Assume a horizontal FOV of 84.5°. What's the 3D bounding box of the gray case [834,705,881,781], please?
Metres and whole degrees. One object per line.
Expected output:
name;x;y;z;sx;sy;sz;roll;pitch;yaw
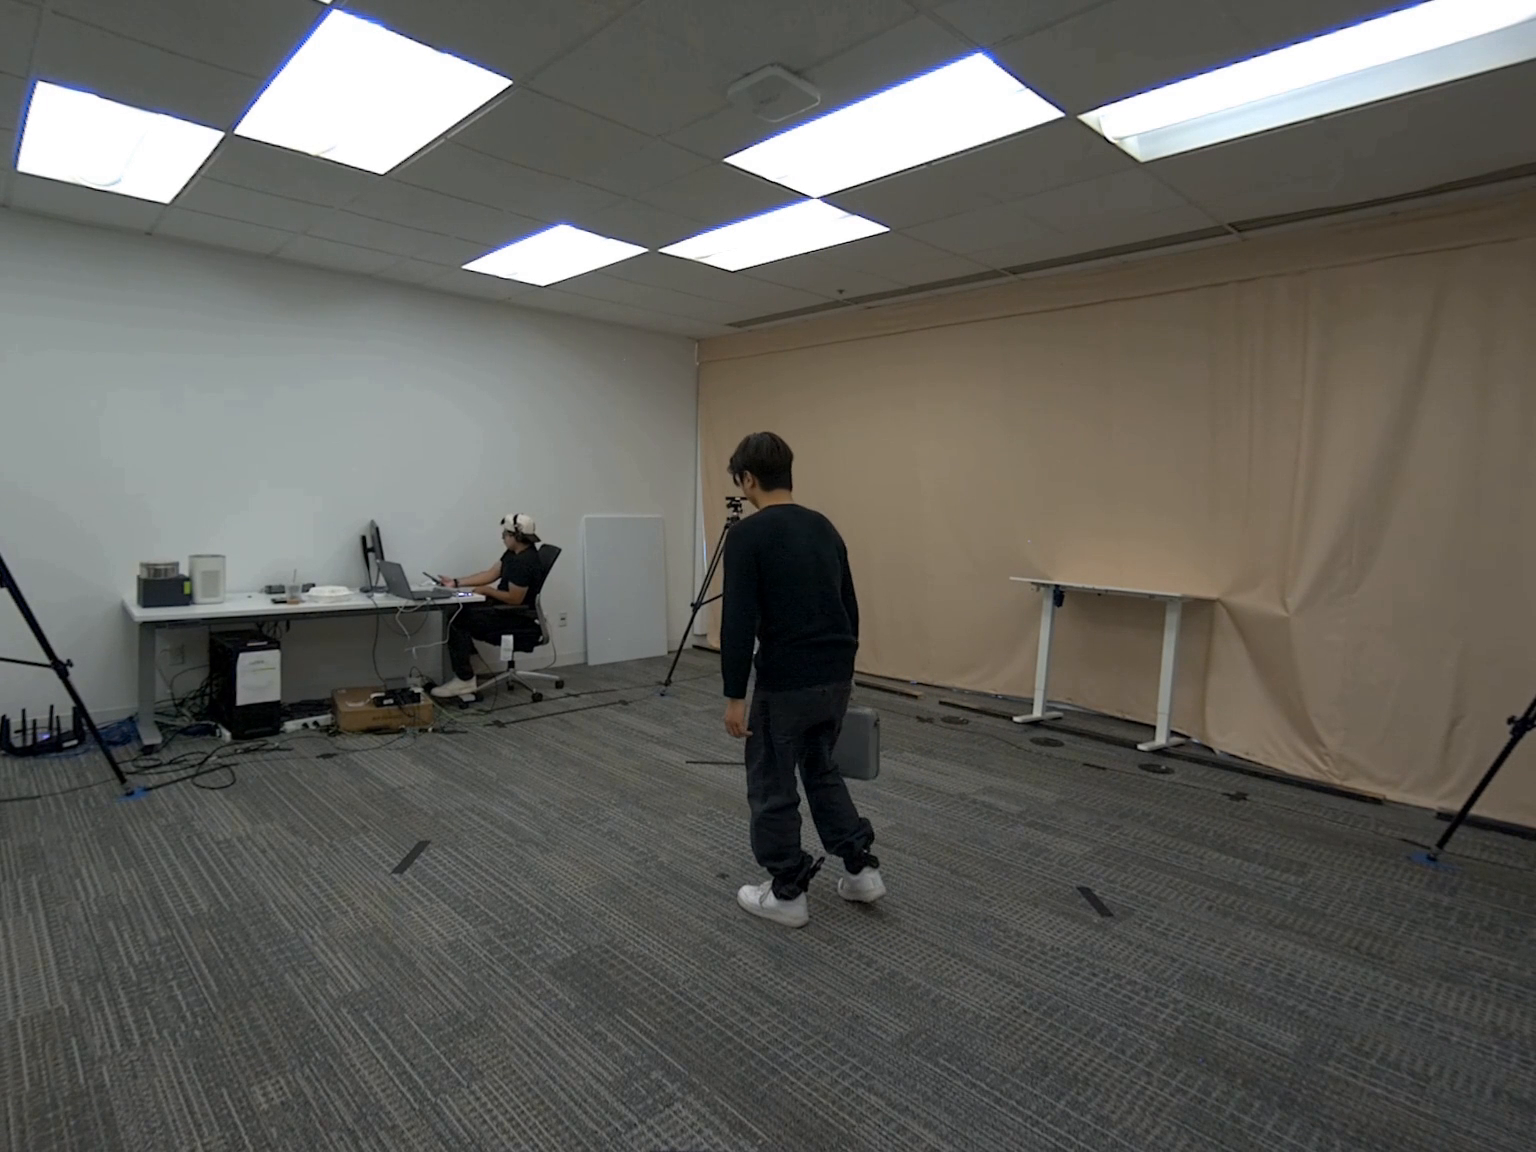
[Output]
gray case;0.269;0.597;3.040;0.262;0.261;0.102;-2;-3;30
